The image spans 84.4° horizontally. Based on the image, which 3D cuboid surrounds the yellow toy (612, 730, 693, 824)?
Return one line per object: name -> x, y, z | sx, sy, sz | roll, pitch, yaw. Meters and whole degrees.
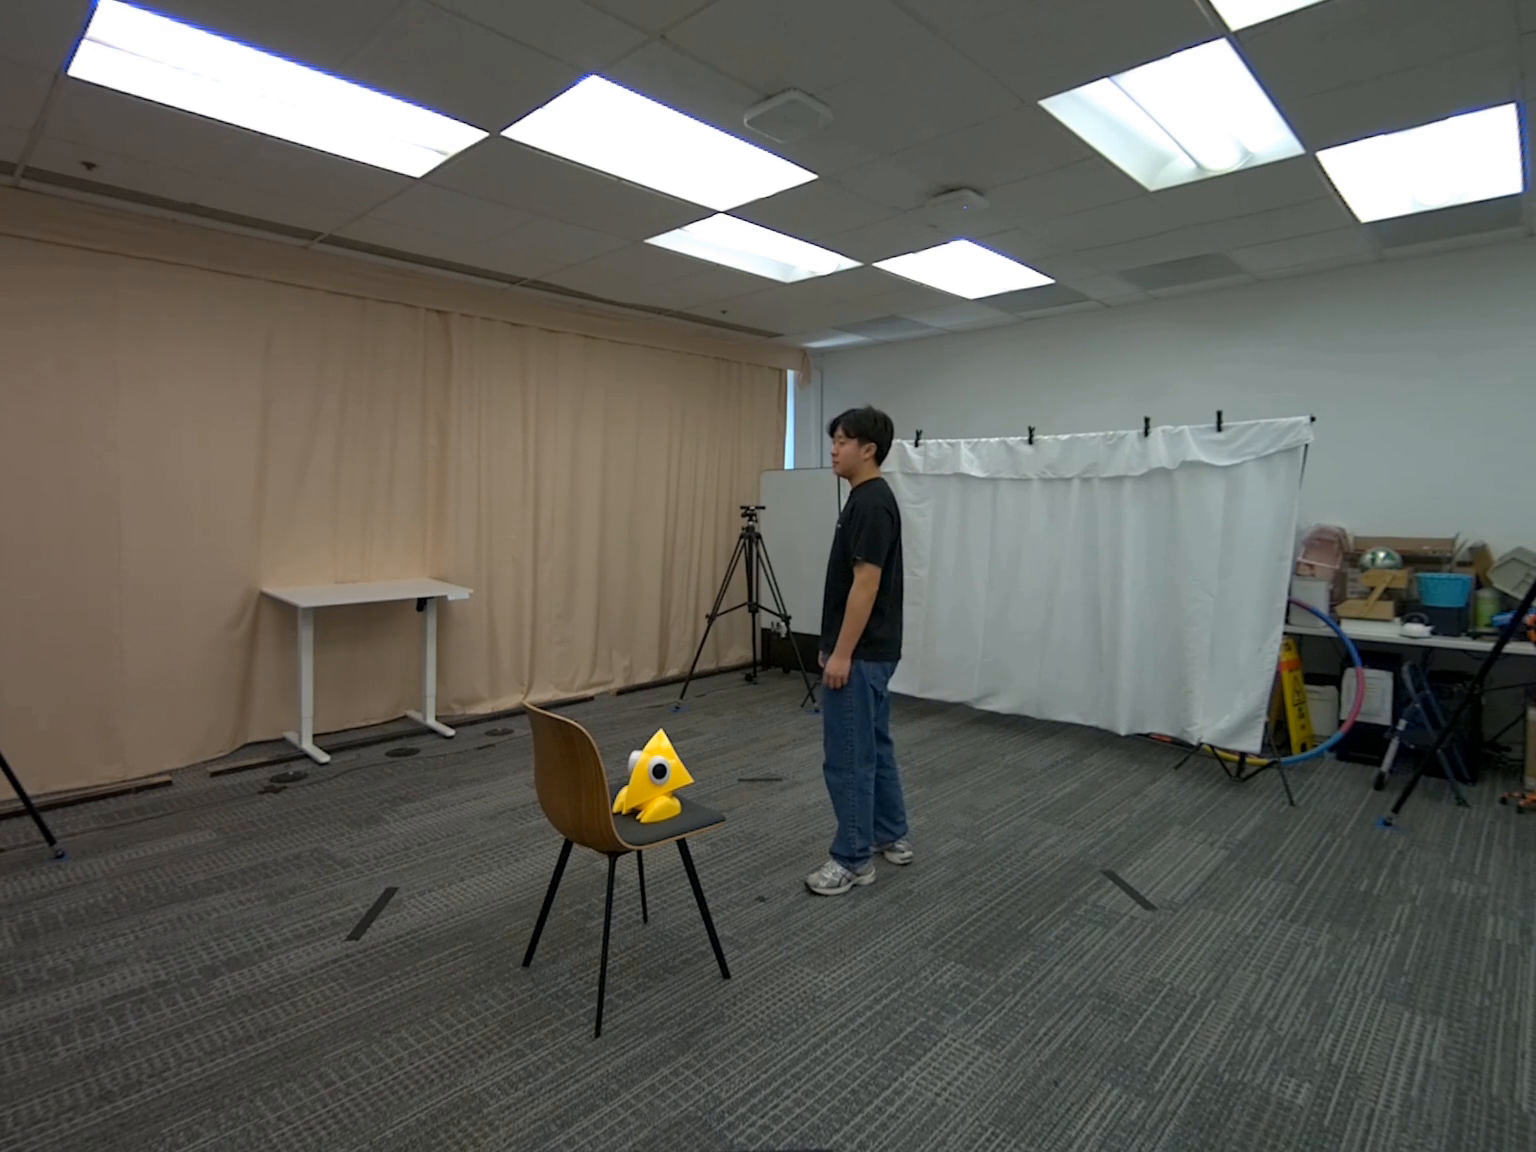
yellow toy -> -0.361, 0.589, 2.525 | 0.211, 0.230, 0.187 | 2, 6, 42
